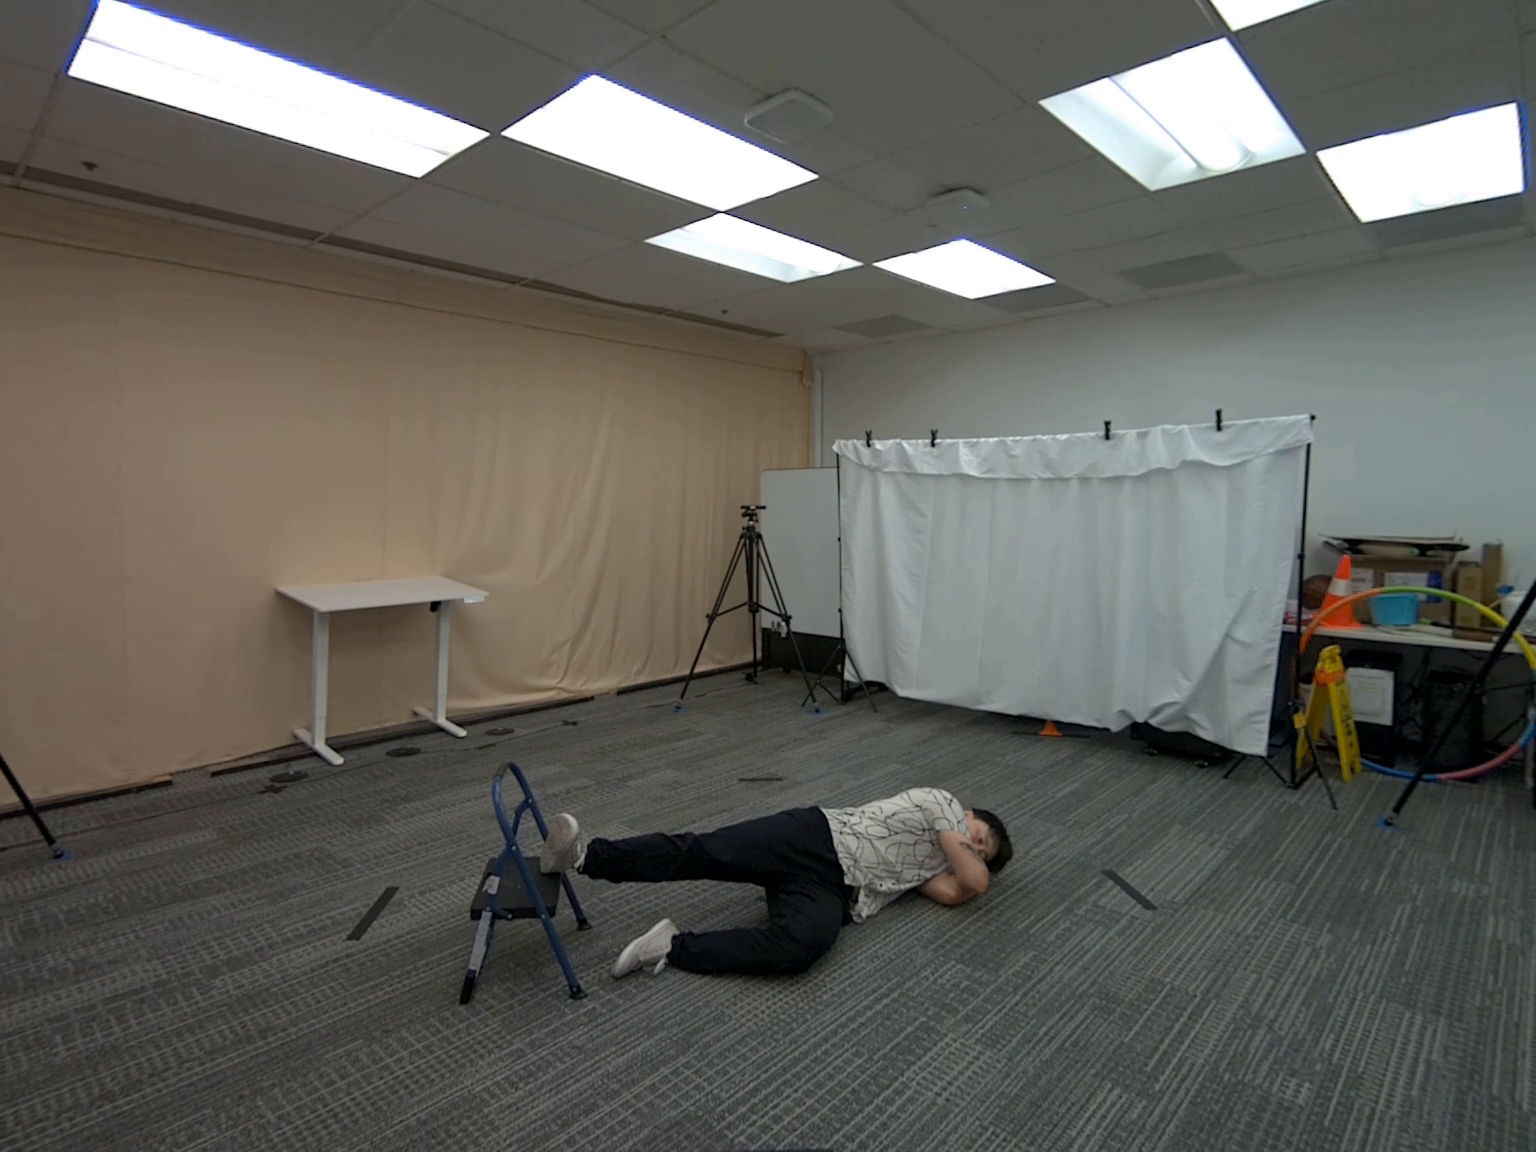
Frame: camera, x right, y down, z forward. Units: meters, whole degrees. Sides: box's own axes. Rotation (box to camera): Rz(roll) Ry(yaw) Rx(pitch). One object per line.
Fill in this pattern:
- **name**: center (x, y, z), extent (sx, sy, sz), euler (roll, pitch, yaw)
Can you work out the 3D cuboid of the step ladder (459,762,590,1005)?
- **step ladder**: center (-0.732, 0.888, 2.556), extent (0.346, 0.605, 0.435), euler (-1, 3, -10)
